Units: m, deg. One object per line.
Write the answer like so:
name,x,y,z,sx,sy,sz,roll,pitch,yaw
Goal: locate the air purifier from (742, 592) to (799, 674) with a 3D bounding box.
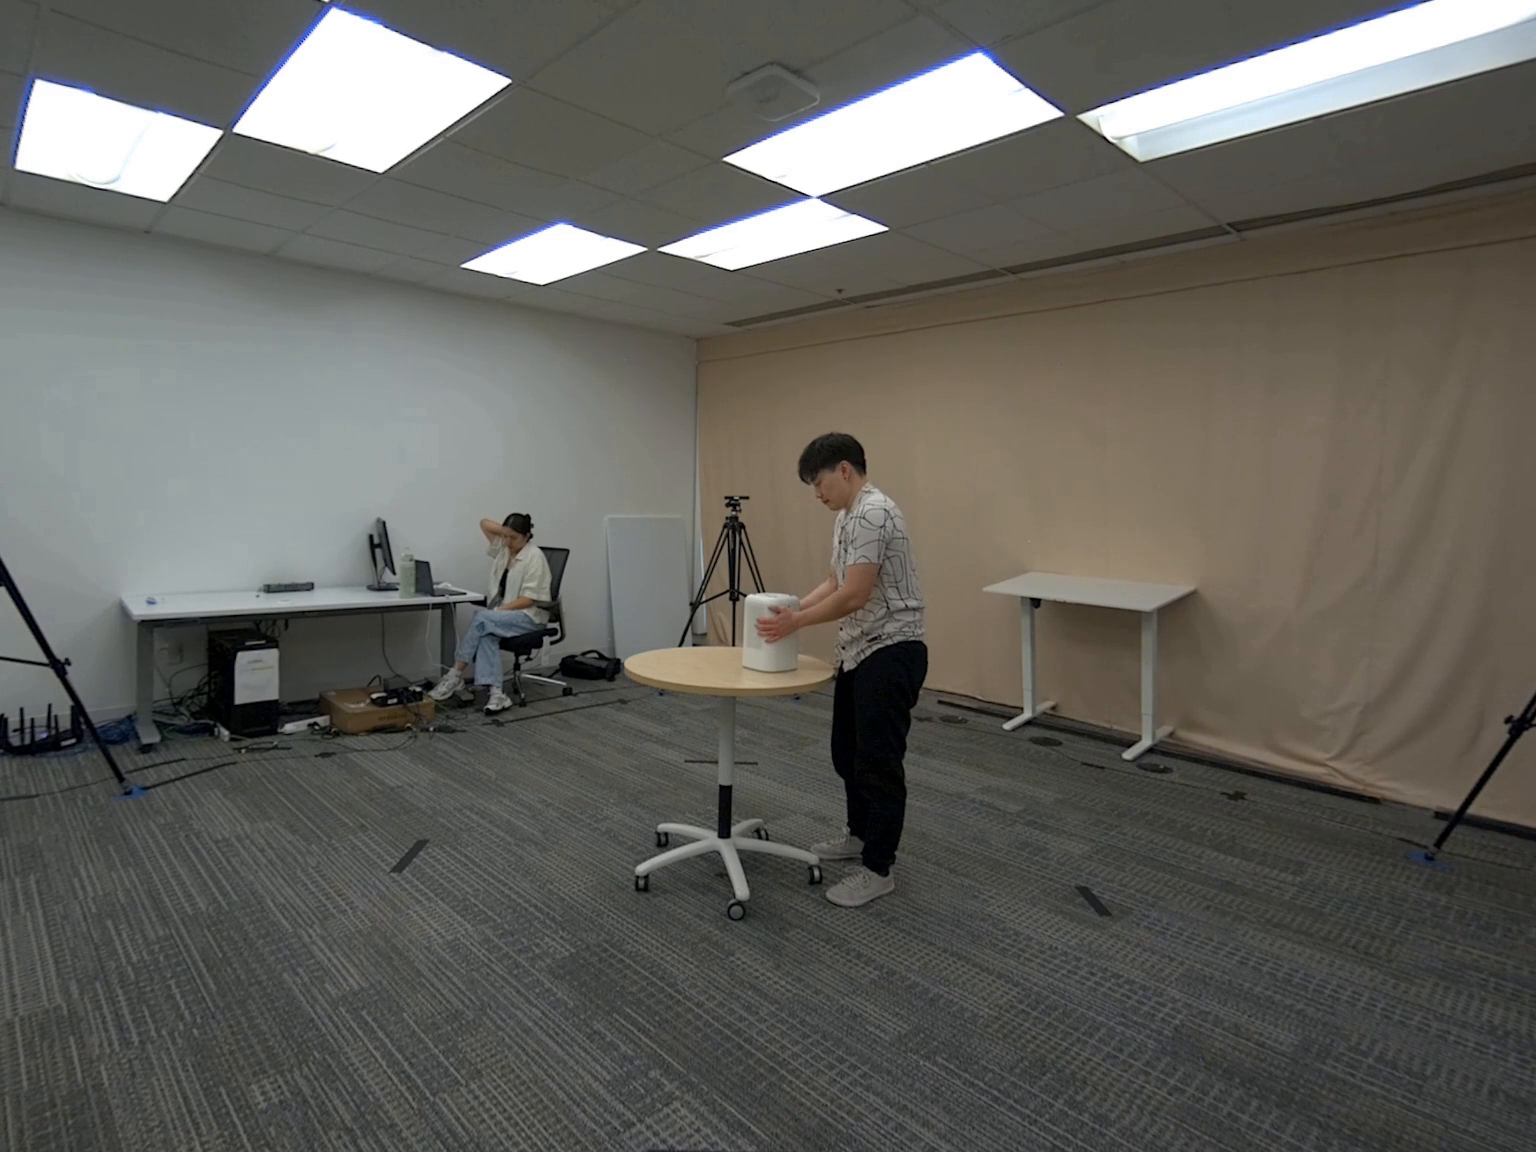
air purifier,0.007,0.199,3.045,0.167,0.265,0.176,-2,5,-43
